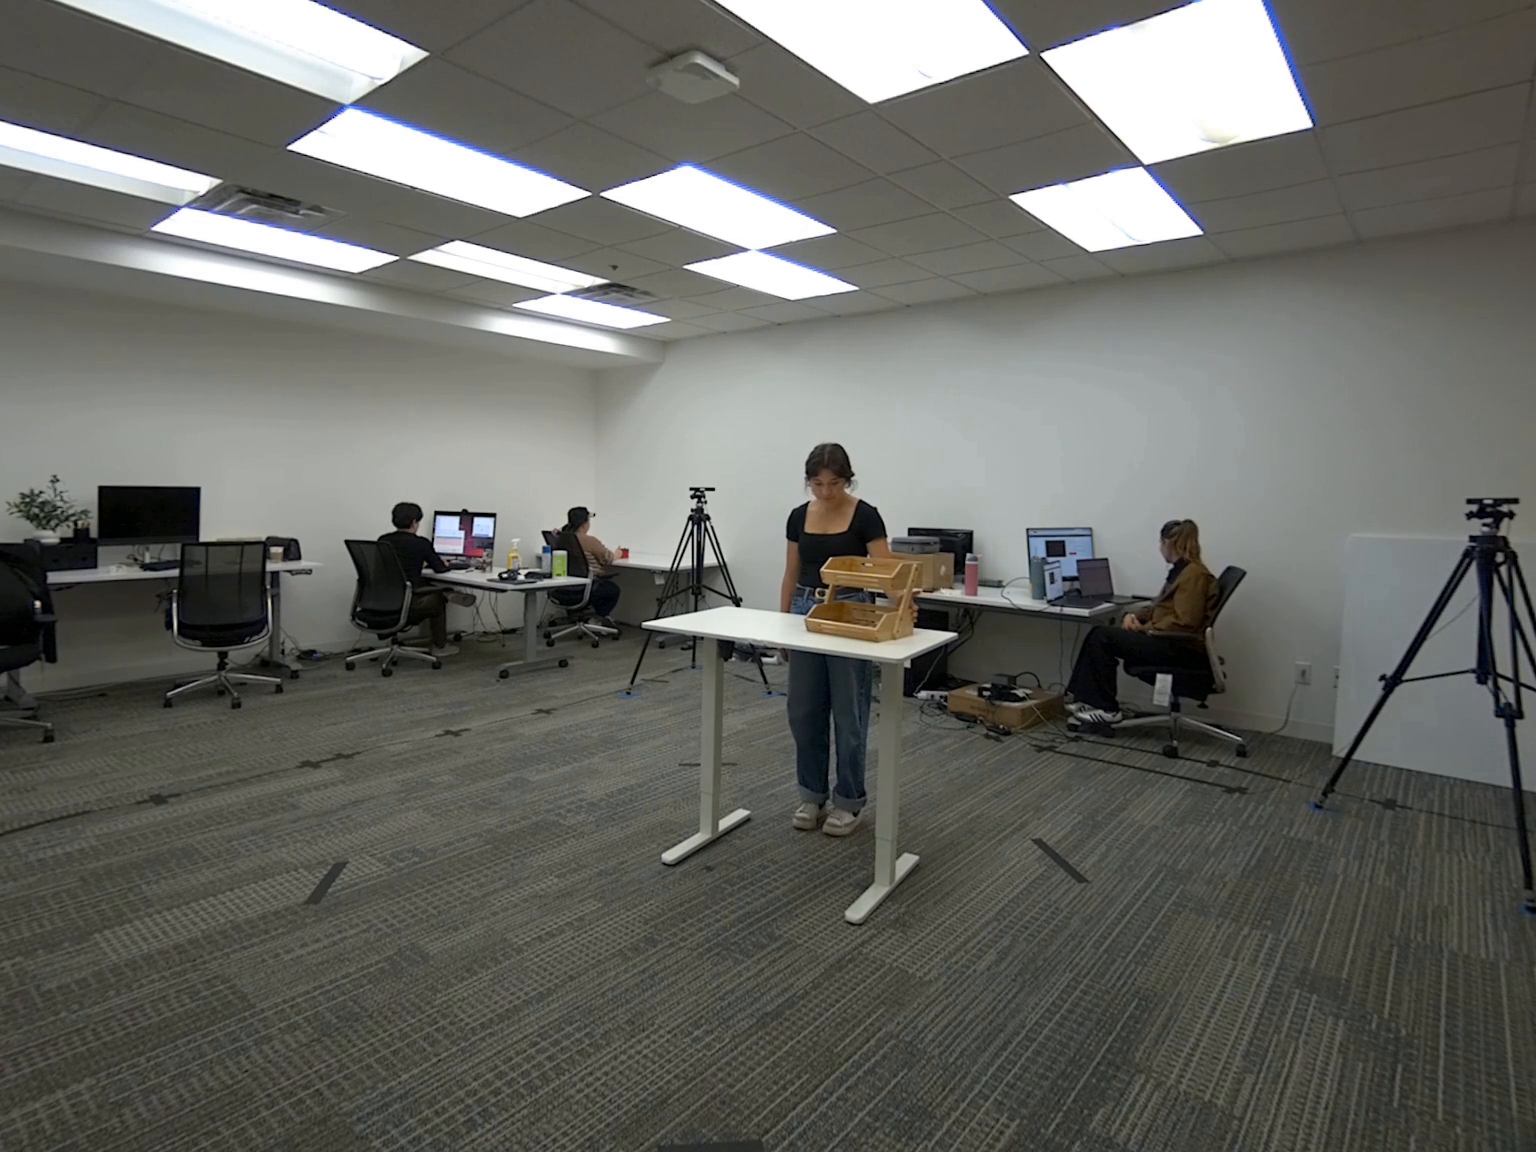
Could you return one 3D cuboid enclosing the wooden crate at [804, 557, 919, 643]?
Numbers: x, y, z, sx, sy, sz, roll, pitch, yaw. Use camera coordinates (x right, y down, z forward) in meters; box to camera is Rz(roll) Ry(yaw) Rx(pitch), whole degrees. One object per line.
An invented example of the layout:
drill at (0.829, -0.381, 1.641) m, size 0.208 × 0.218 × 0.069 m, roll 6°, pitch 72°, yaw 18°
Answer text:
wooden crate at (0.336, 0.067, 3.065) m, size 0.335 × 0.272 × 0.293 m, roll 6°, pitch 5°, yaw 39°
